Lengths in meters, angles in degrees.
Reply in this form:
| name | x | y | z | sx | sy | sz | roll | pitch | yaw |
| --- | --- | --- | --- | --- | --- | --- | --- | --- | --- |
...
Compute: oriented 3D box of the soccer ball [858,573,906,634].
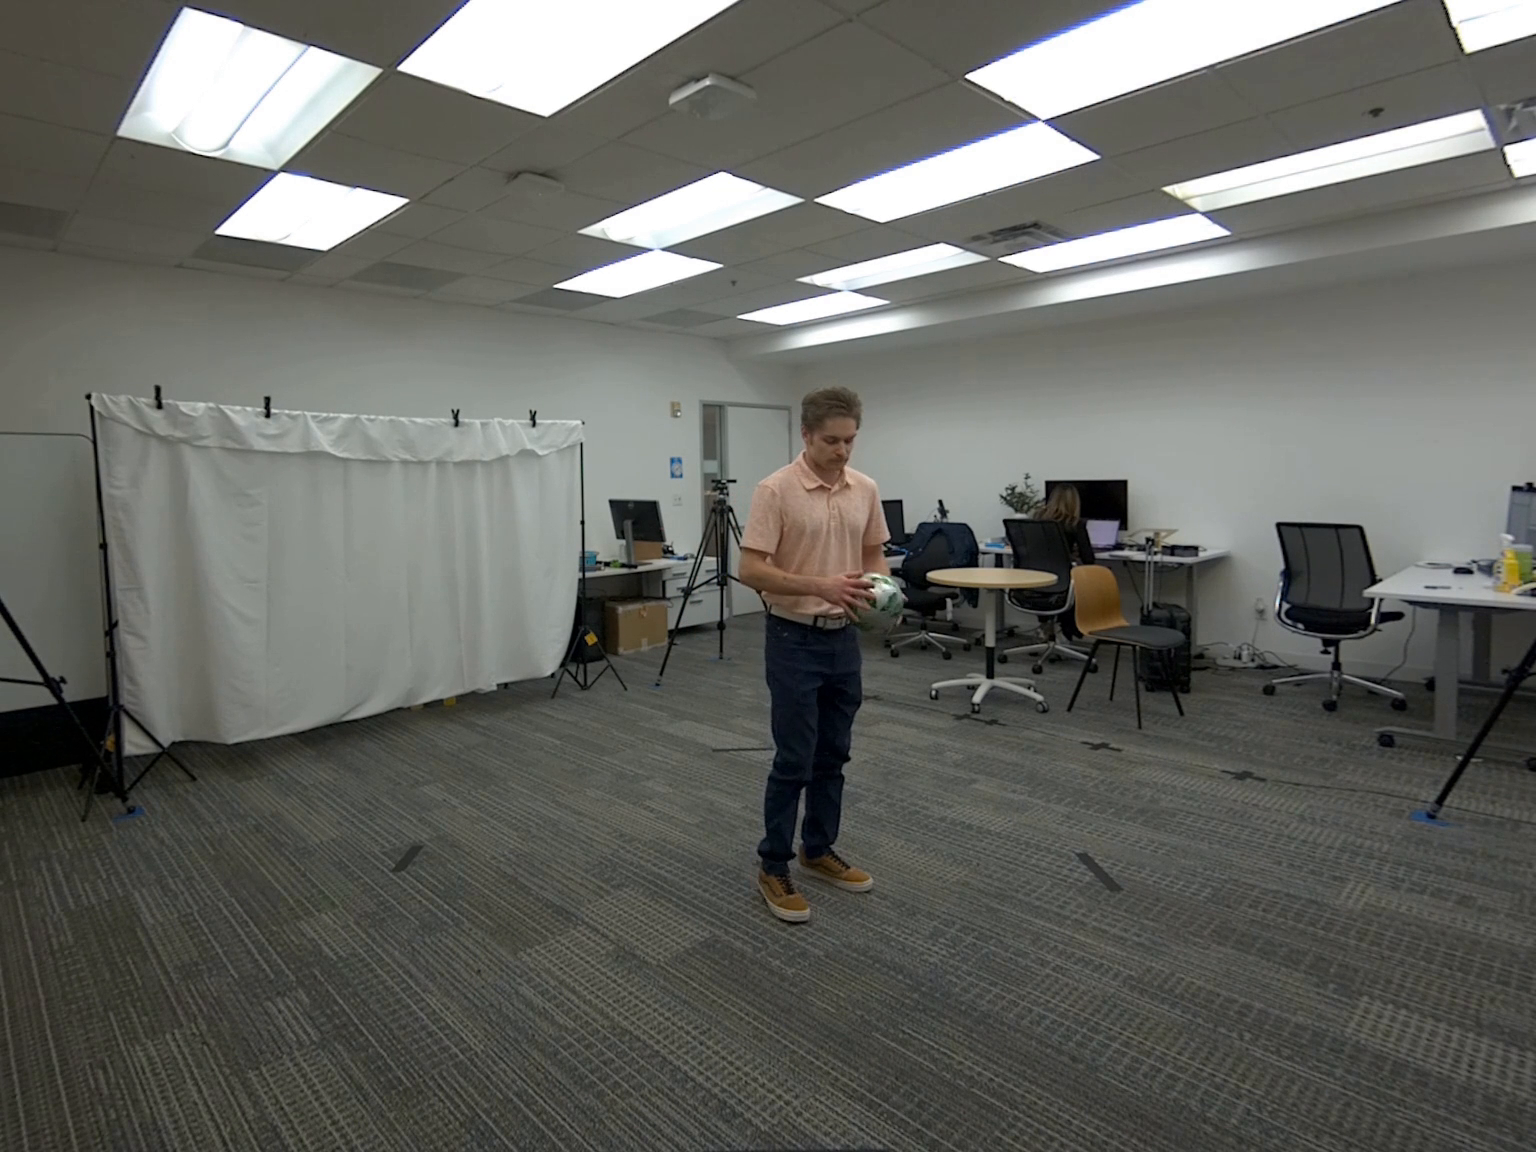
| name | x | y | z | sx | sy | sz | roll | pitch | yaw |
| --- | --- | --- | --- | --- | --- | --- | --- | --- | --- |
| soccer ball | 0.317 | 0.087 | 2.661 | 0.187 | 0.187 | 0.188 | -1 | 5 | -2 |
